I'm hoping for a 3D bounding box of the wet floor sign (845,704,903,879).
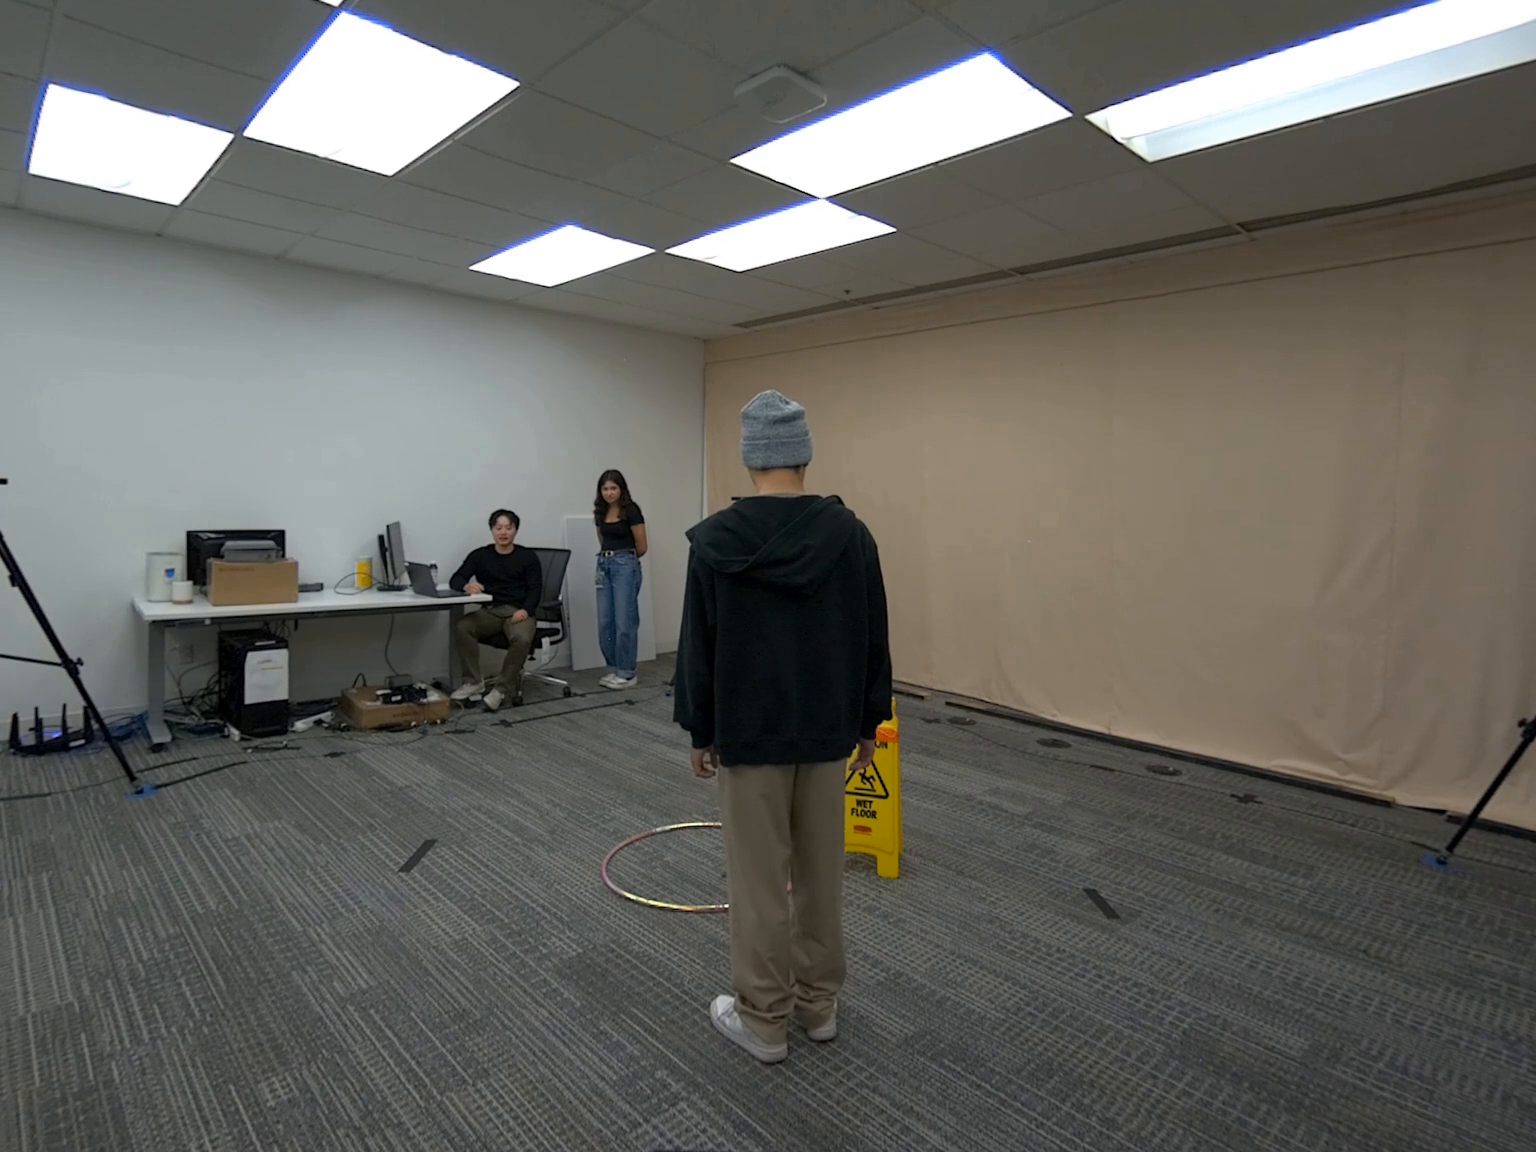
[{"bbox_3d":[0.376,0.786,3.251,0.286,0.645,0.287,2,2,15],"label":"wet floor sign"}]
